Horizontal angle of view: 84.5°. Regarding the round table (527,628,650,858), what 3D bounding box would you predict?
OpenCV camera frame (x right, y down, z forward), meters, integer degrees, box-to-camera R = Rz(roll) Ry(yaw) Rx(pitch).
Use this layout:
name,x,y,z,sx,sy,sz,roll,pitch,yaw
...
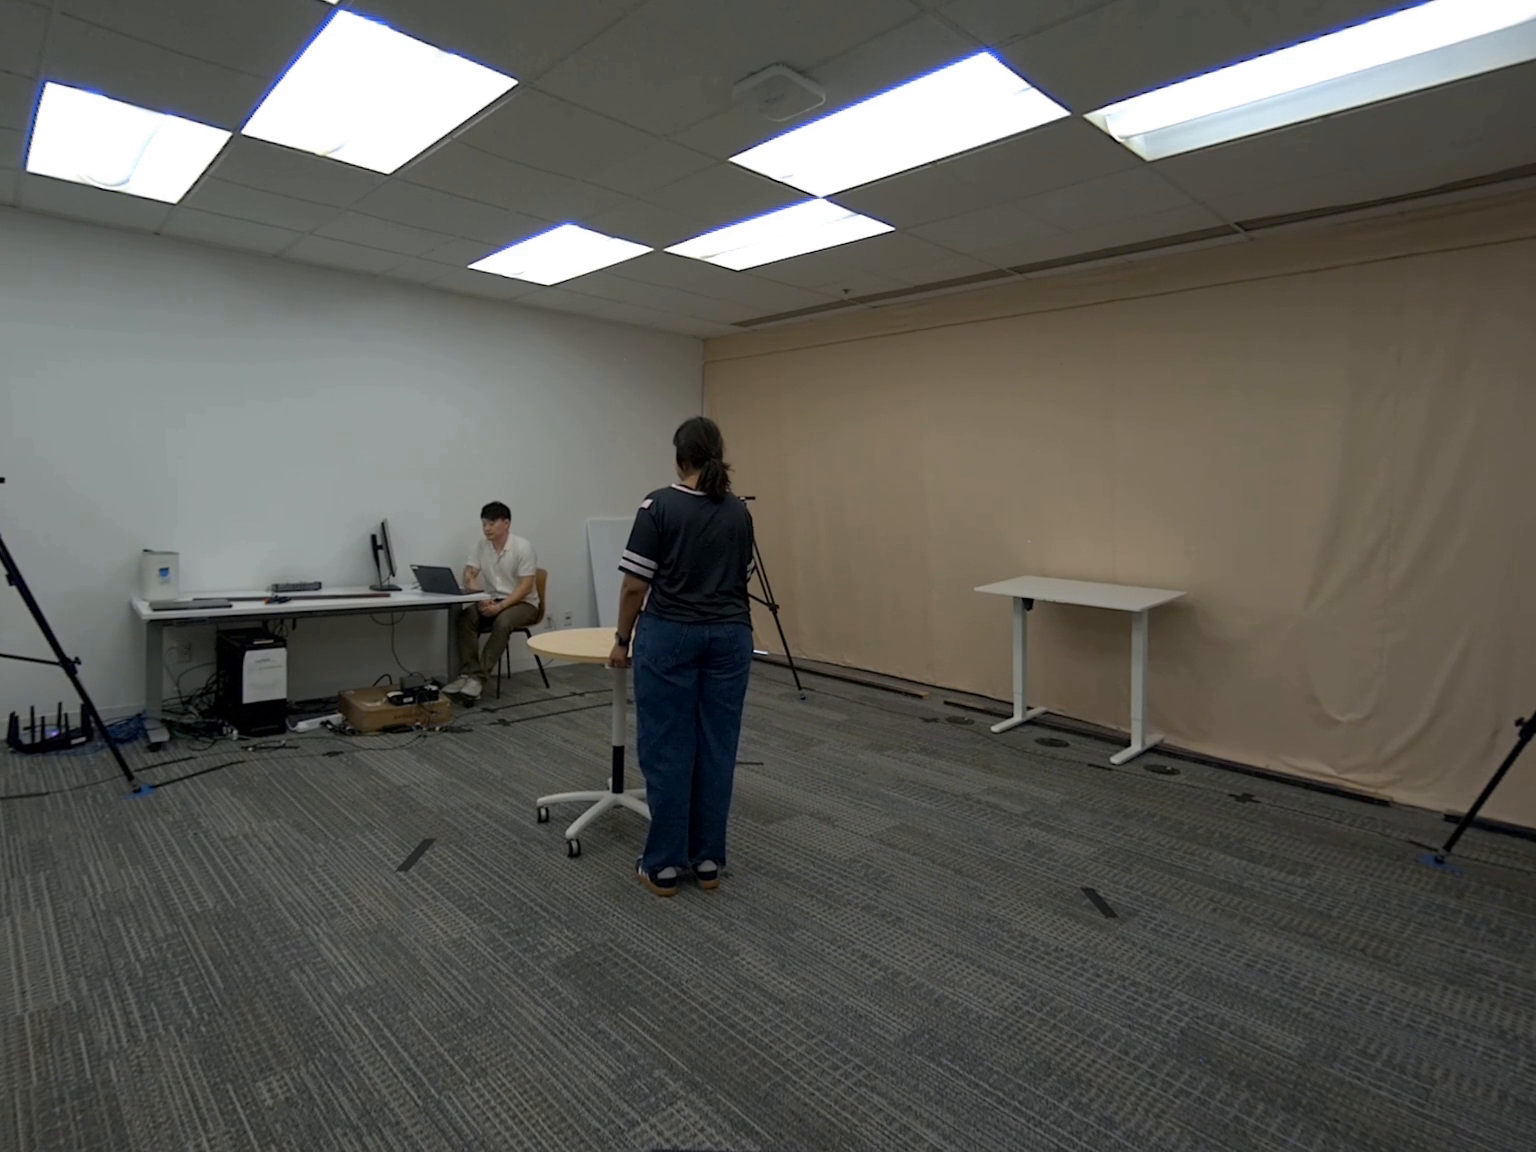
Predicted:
name,x,y,z,sx,sy,sz,roll,pitch,yaw
round table,-0.626,0.661,3.524,0.784,0.785,0.787,2,3,-1
